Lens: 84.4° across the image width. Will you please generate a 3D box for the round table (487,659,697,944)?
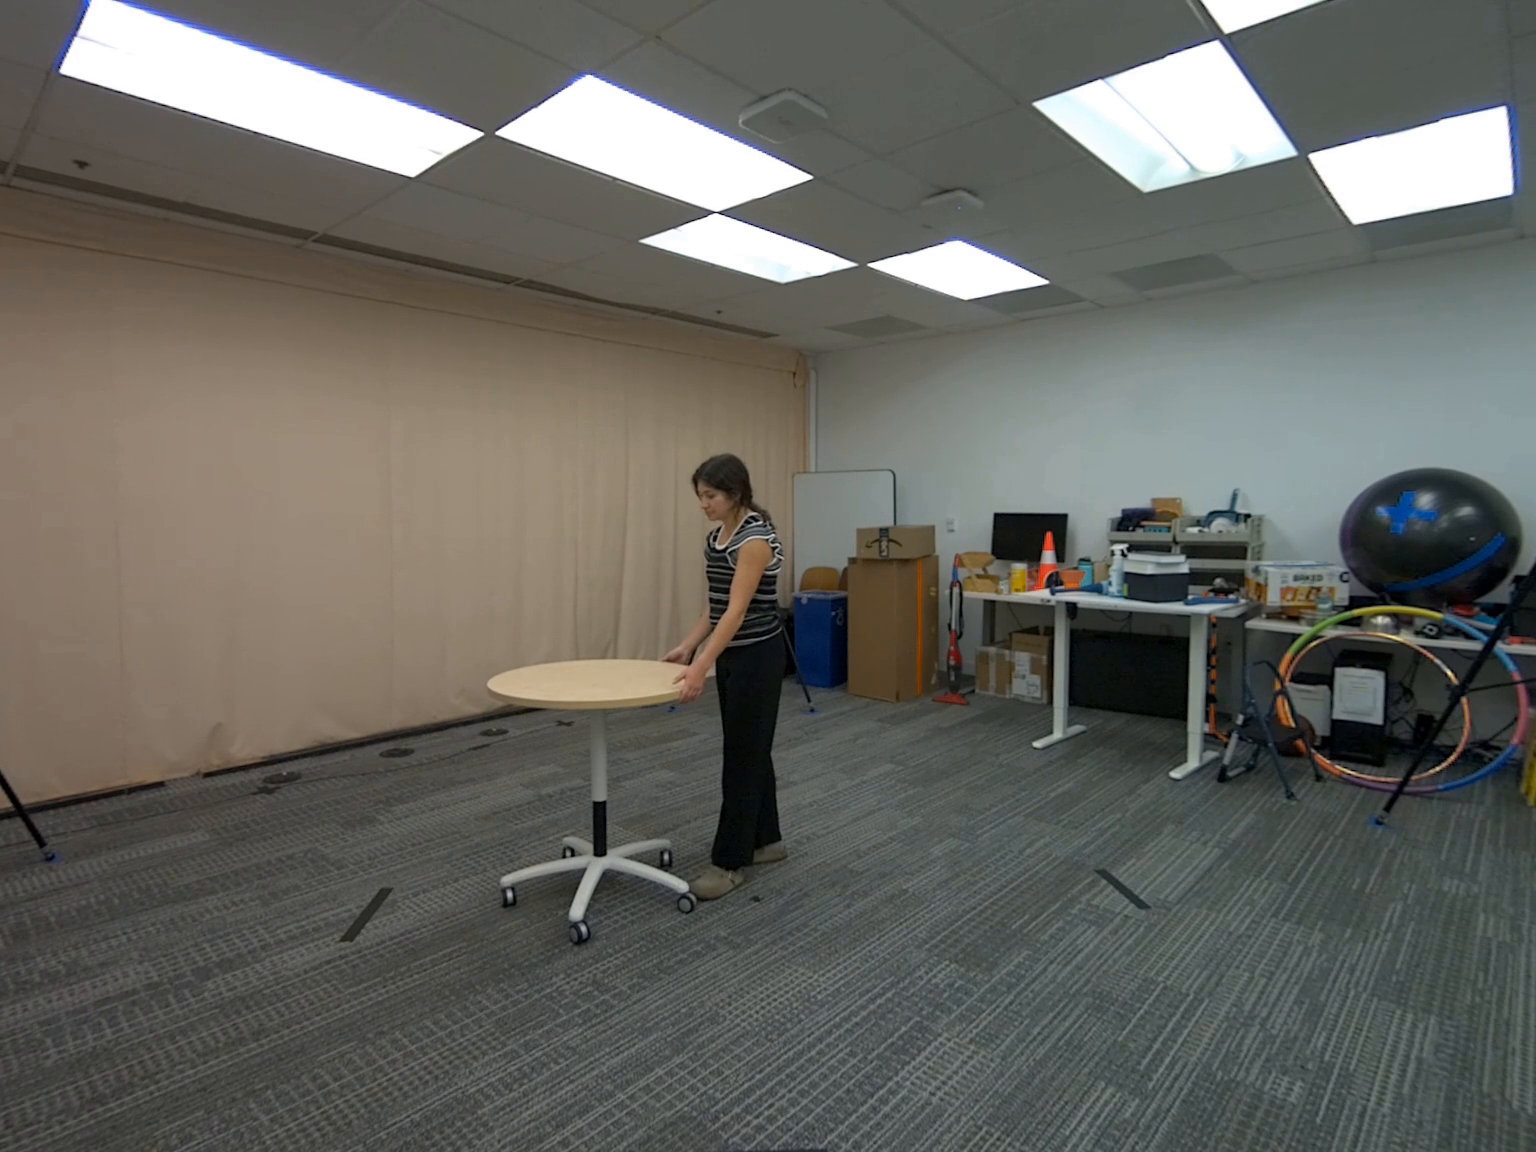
[{"bbox_3d":[-0.606,0.751,3.035,0.784,0.785,0.788,0,4,-2],"label":"round table"}]
